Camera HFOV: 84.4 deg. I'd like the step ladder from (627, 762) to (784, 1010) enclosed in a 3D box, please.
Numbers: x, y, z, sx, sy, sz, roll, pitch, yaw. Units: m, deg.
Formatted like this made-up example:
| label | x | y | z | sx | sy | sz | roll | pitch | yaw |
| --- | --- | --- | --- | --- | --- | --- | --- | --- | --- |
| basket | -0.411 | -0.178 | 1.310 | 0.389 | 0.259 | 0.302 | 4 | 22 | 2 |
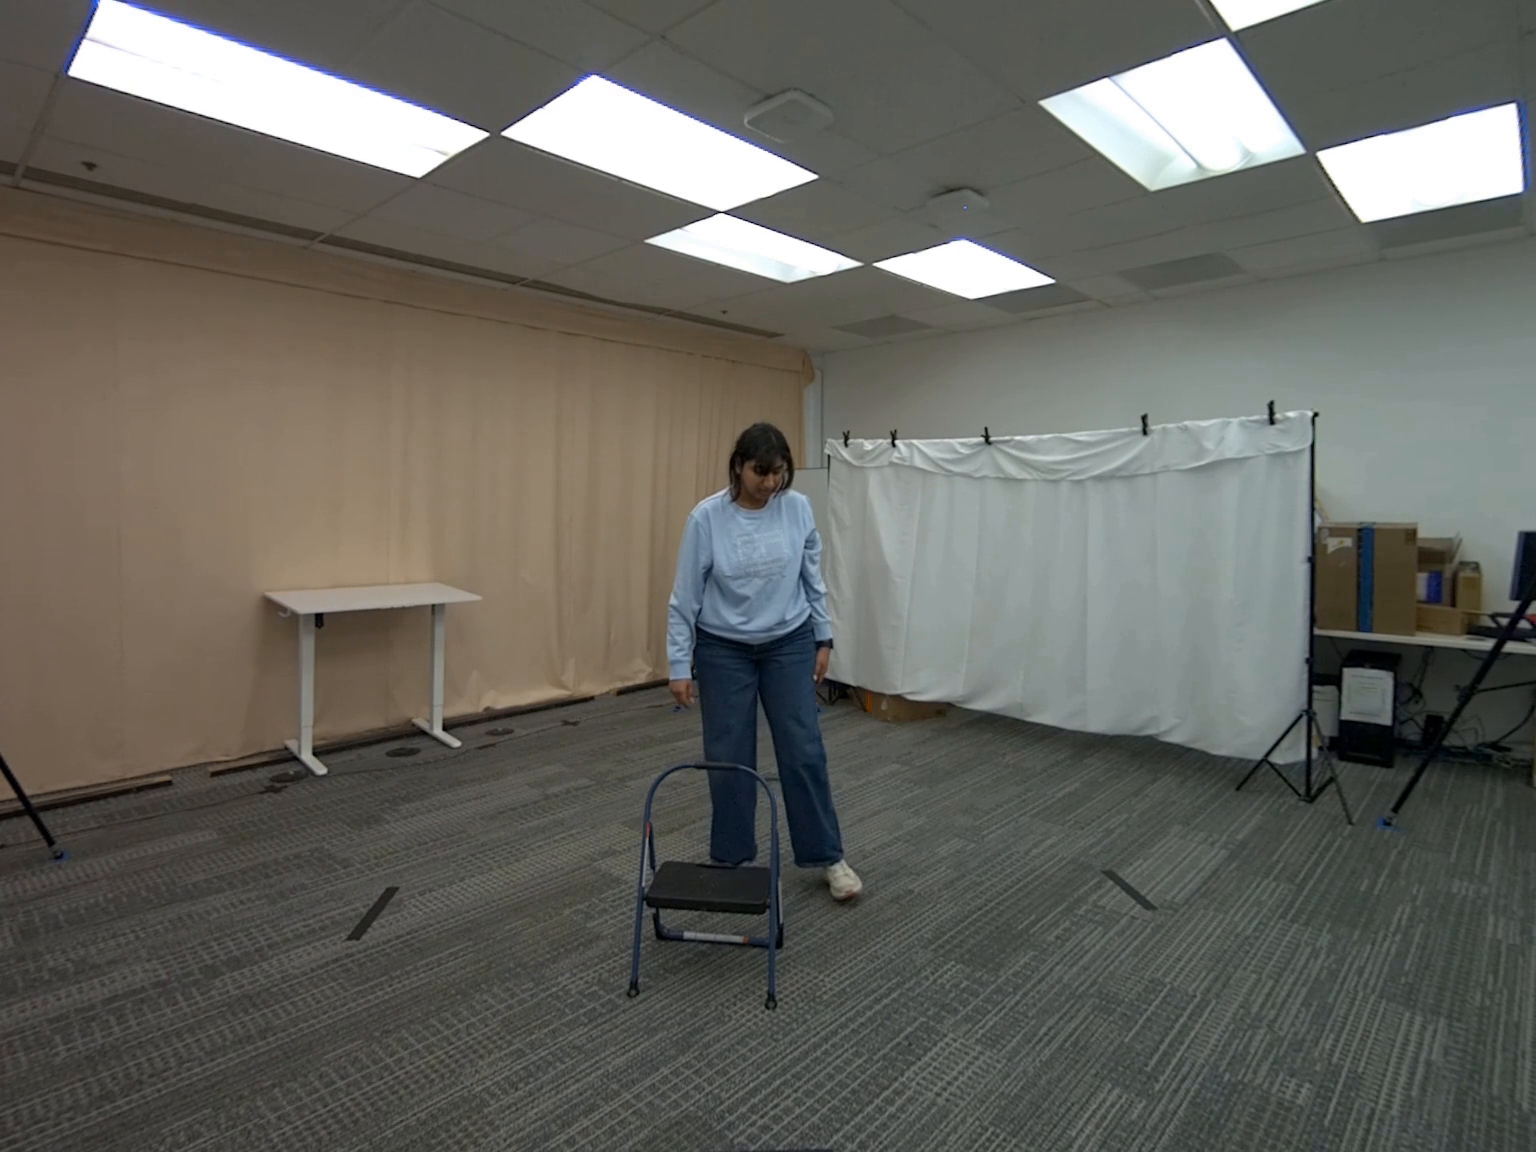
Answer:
| label | x | y | z | sx | sy | sz | roll | pitch | yaw |
| --- | --- | --- | --- | --- | --- | --- | --- | --- | --- |
| step ladder | -0.174 | 0.886 | 2.512 | 0.435 | 0.604 | 0.347 | 1 | 4 | 8 |
